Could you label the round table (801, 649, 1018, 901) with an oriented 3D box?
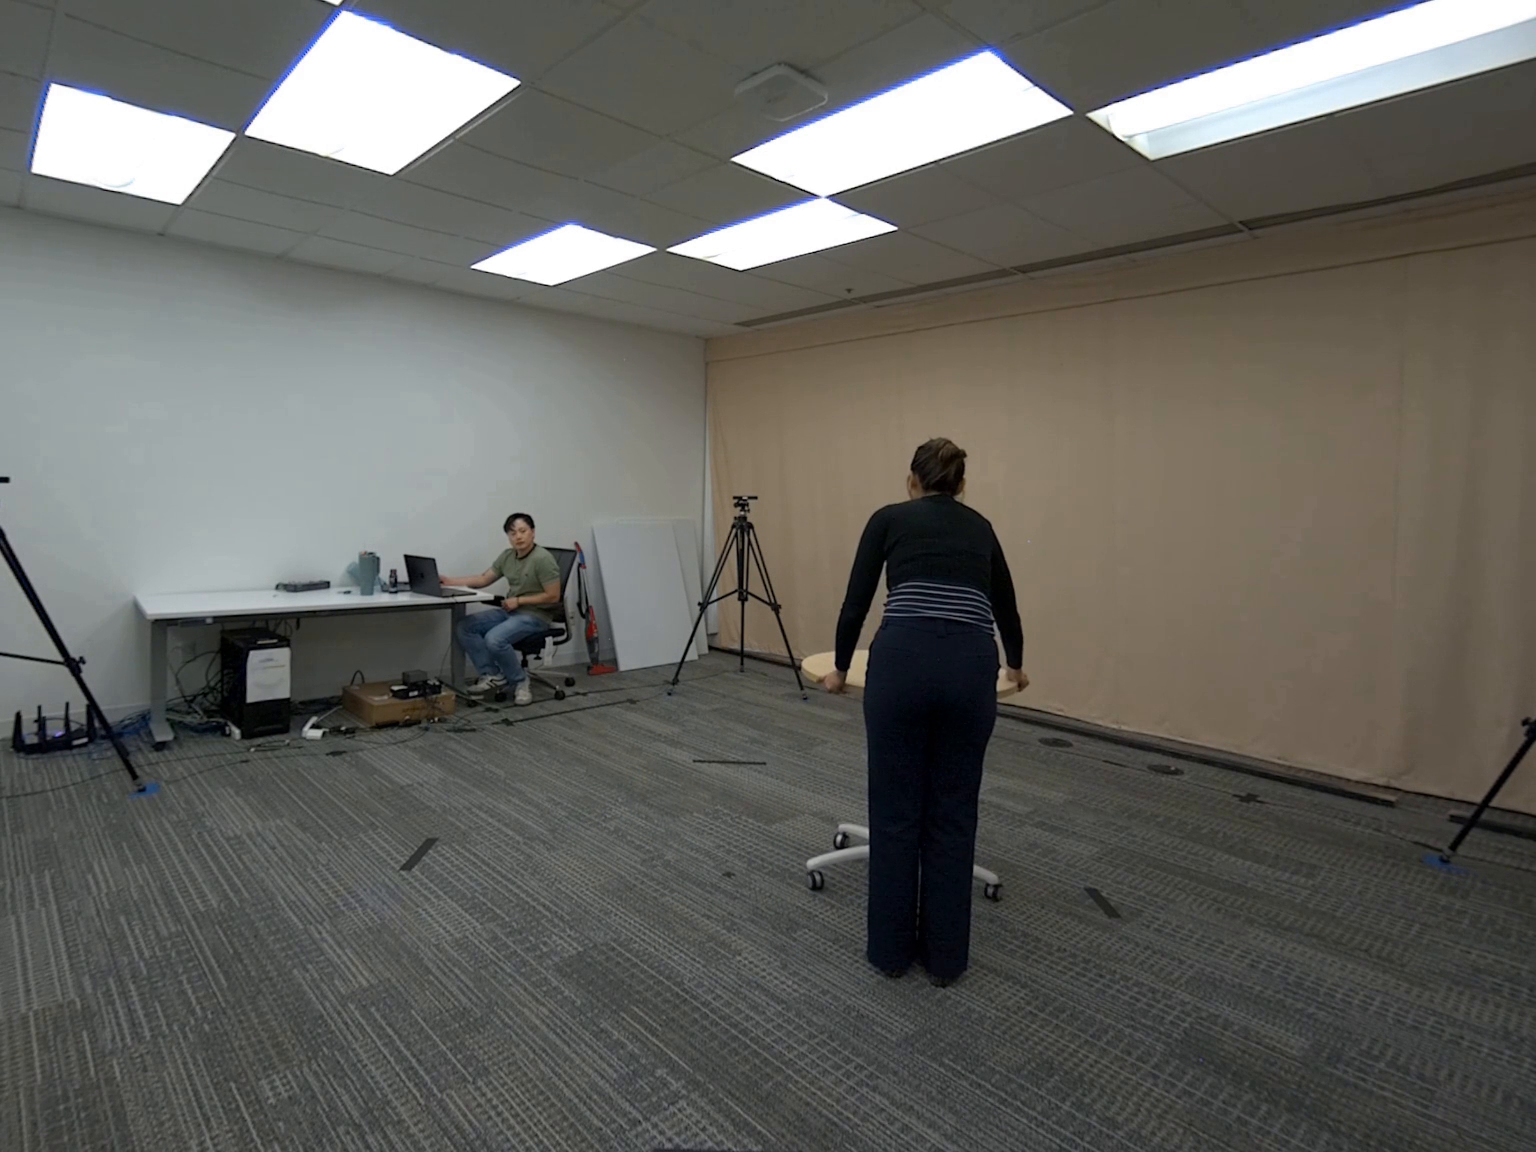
[{"bbox_3d":[0.483,0.733,3.073,0.763,0.792,0.767,2,4,-2],"label":"round table"}]
